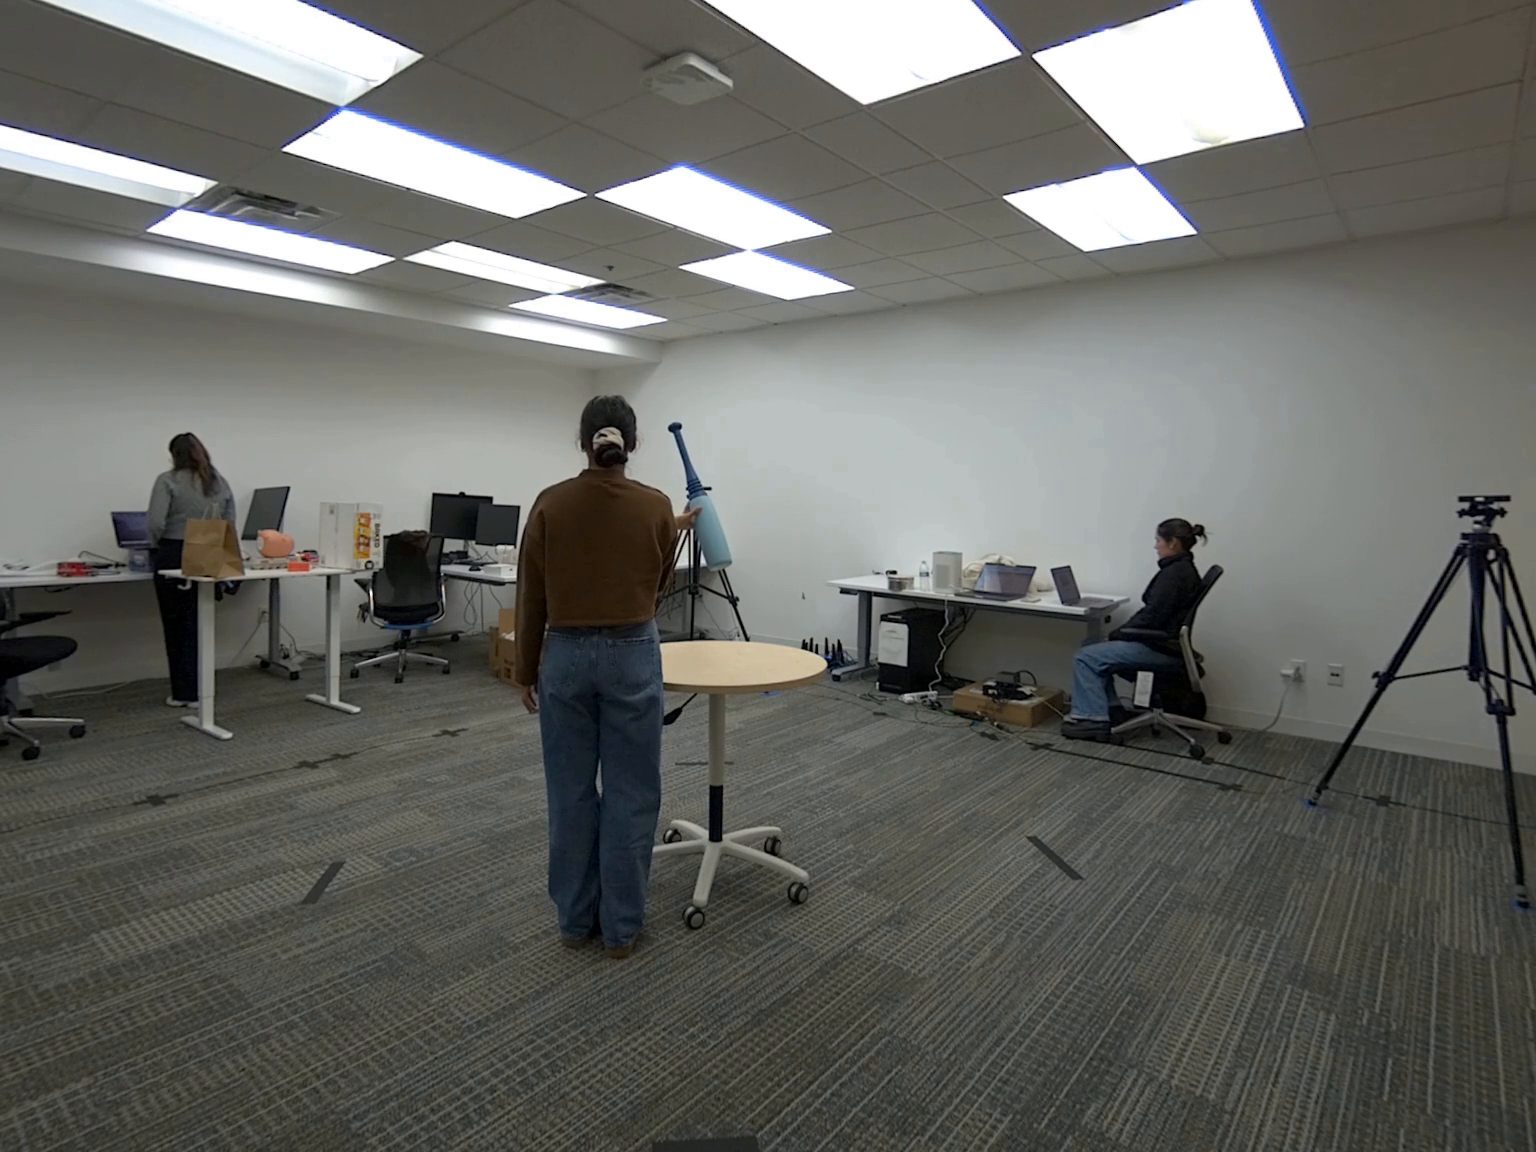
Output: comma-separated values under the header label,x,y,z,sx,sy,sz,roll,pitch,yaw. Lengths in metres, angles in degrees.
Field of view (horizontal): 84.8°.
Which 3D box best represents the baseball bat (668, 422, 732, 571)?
label,x,y,z,sx,sy,sz,roll,pitch,yaw
baseball bat,-0.251,-0.281,2.884,0.089,0.553,0.088,-16,-15,-6
